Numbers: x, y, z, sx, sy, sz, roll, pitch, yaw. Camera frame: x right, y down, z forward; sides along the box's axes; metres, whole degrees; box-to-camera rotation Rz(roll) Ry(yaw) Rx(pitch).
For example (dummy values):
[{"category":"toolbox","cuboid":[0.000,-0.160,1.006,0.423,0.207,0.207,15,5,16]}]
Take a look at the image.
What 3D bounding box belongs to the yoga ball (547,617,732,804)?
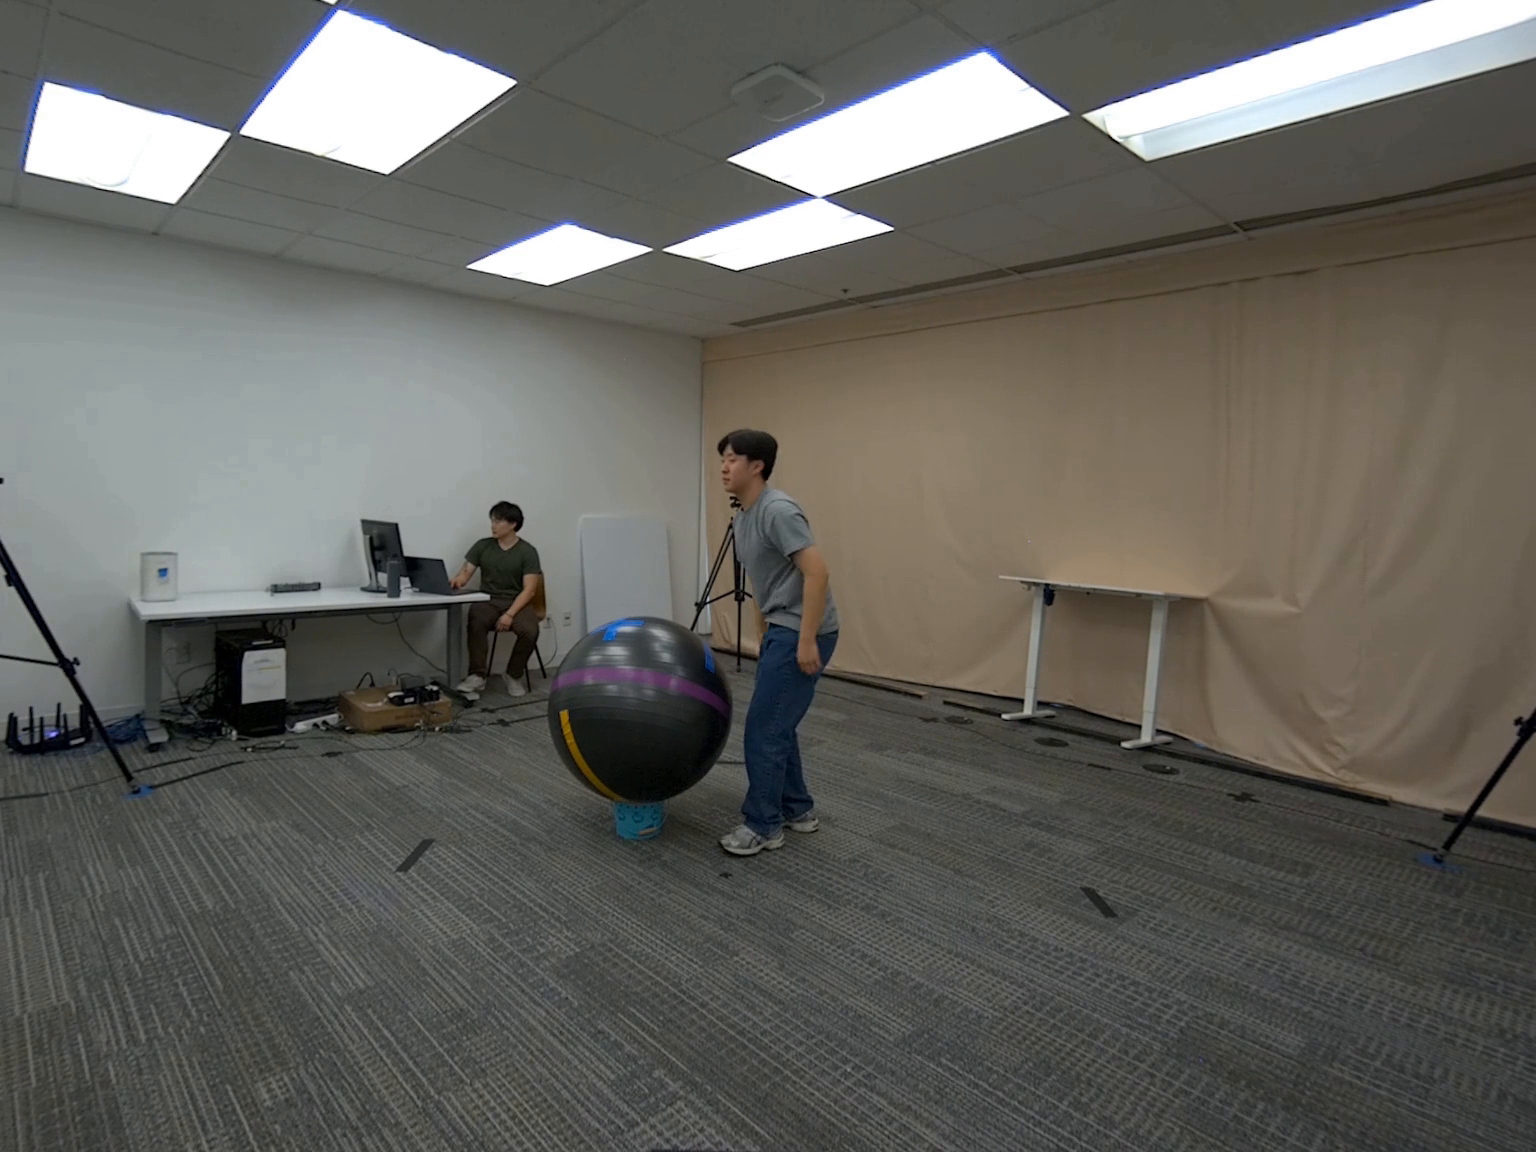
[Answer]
[{"category":"yoga ball","cuboid":[-0.537,0.552,3.501,0.757,0.756,0.761,1,4,-1]}]
